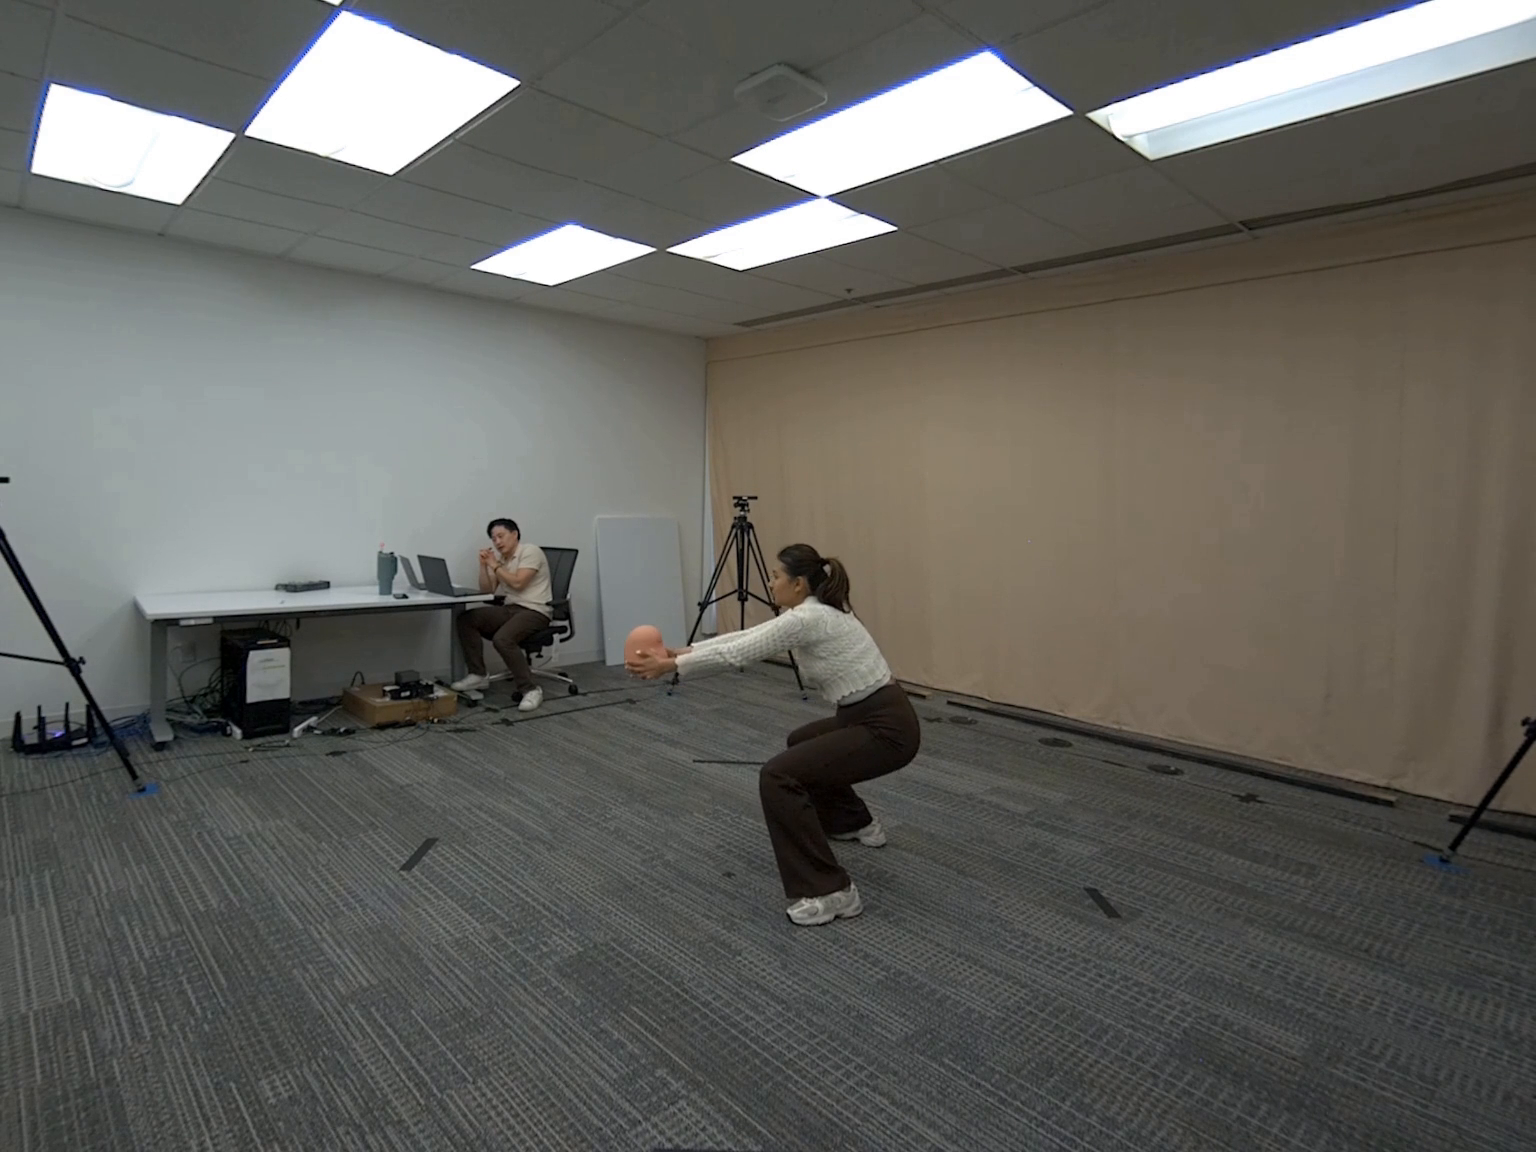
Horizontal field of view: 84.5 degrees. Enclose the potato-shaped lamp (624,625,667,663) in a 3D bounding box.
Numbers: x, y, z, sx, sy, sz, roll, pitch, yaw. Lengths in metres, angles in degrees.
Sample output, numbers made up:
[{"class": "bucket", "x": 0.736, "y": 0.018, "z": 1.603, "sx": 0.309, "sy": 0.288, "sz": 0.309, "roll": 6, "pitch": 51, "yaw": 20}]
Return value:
[{"class": "potato-shaped lamp", "x": -0.471, "y": 0.284, "z": 3.264, "sx": 0.173, "sy": 0.197, "sz": 0.164, "roll": 2, "pitch": 8, "yaw": 12}]
